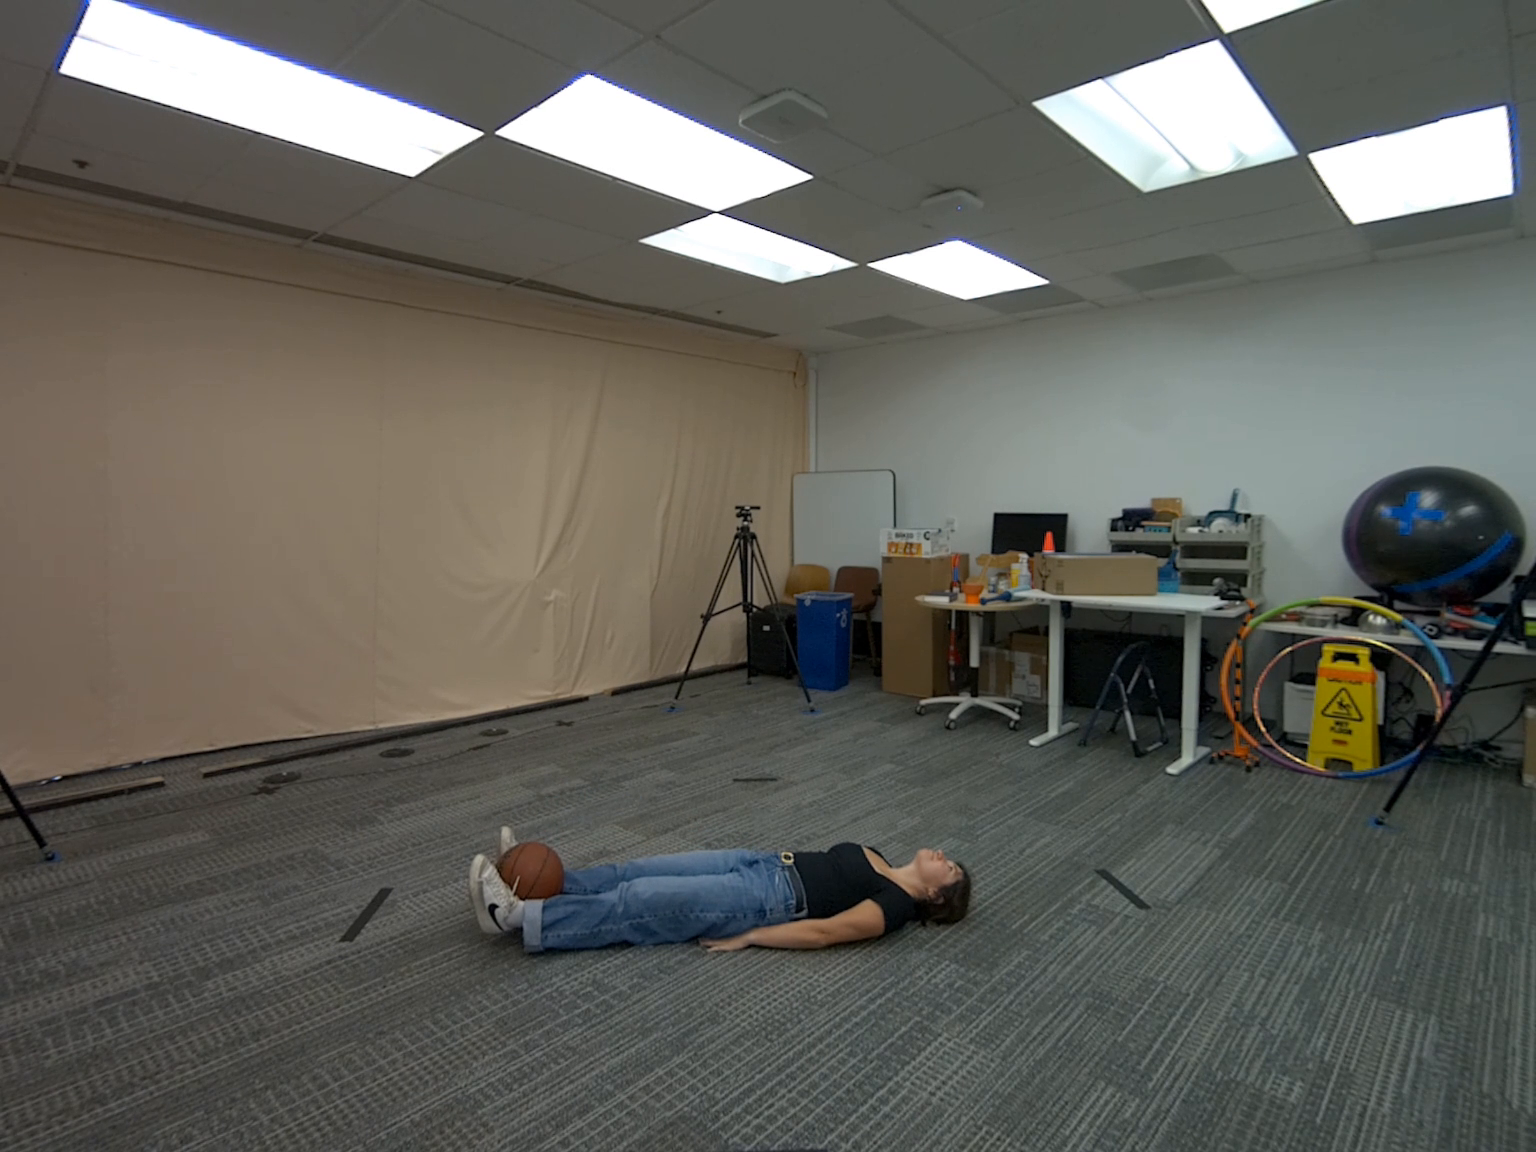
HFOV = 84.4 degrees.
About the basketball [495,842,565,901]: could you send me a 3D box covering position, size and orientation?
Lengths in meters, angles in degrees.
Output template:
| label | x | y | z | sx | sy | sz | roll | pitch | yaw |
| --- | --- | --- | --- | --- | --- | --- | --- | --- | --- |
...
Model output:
| label | x | y | z | sx | sy | sz | roll | pitch | yaw |
| --- | --- | --- | --- | --- | --- | --- | --- | --- | --- |
| basketball | -0.794 | 1.007 | 2.791 | 0.236 | 0.235 | 0.237 | 0 | 4 | -2 |
